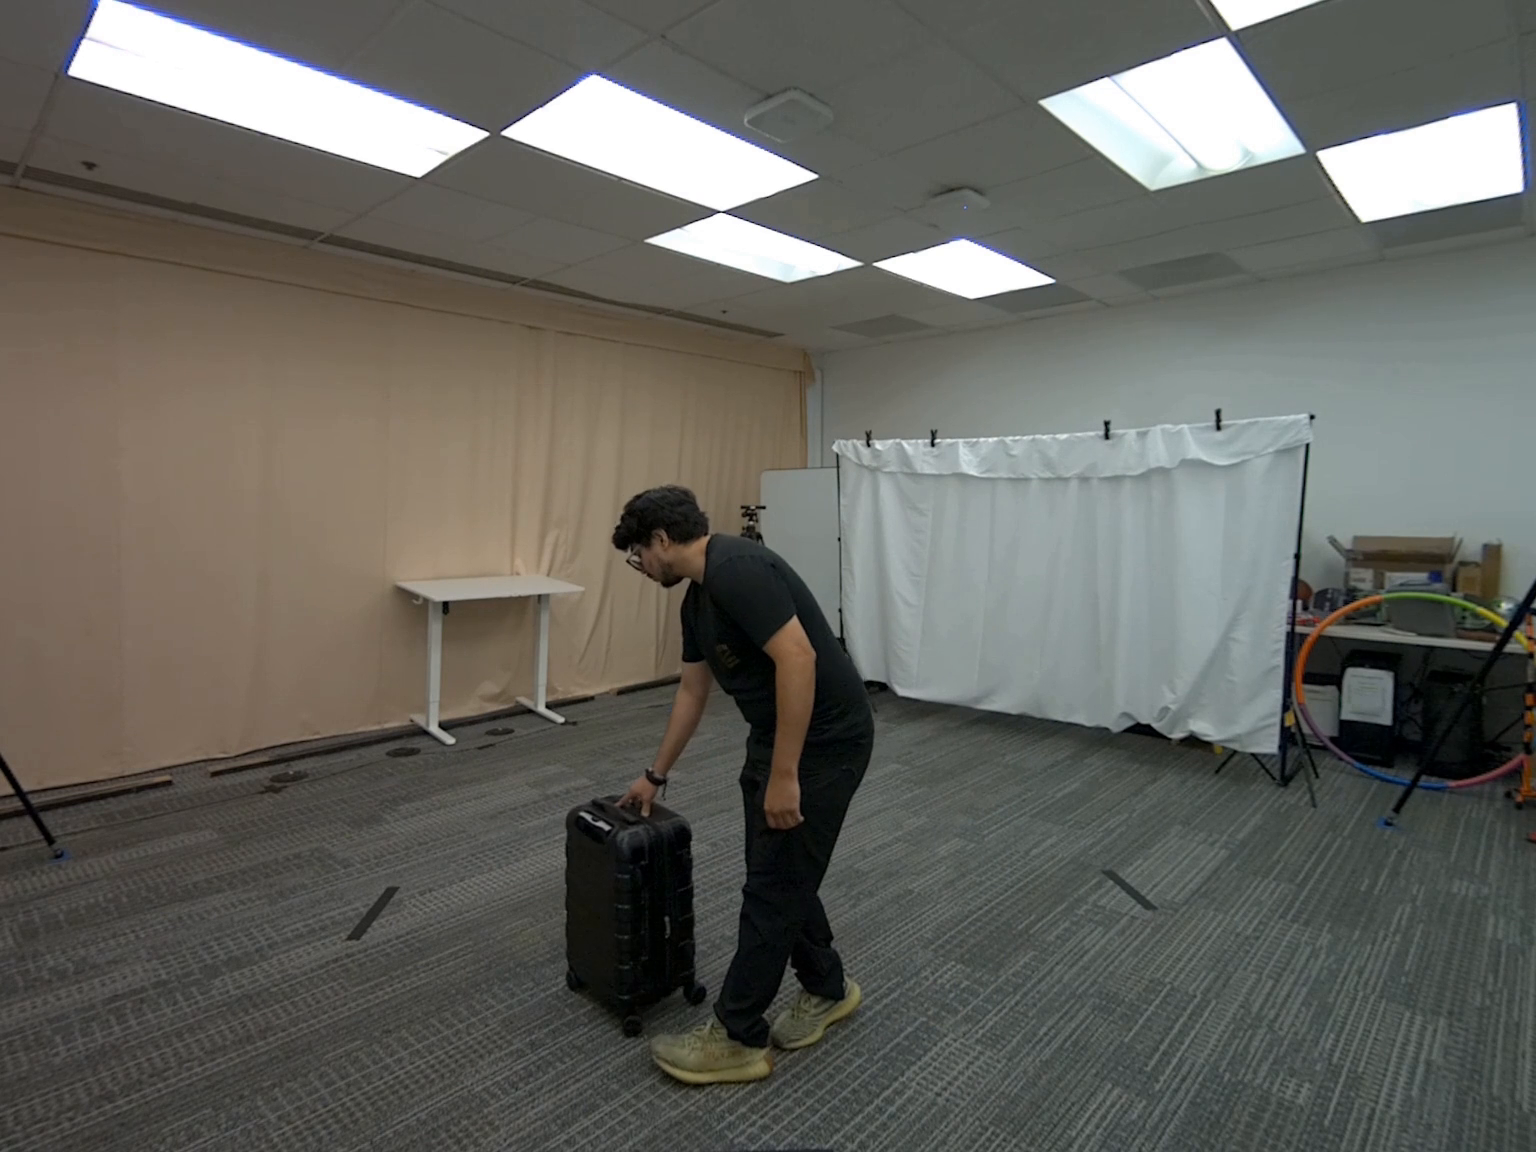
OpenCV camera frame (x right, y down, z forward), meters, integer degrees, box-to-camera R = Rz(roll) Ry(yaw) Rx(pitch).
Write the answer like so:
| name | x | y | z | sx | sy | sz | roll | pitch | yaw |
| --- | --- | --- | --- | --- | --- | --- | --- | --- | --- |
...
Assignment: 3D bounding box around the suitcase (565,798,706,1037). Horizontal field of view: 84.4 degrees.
| name | x | y | z | sx | sy | sz | roll | pitch | yaw |
| --- | --- | --- | --- | --- | --- | --- | --- | --- | --- |
| suitcase | -0.398 | 0.922 | 2.393 | 0.241 | 0.548 | 0.387 | -3 | 4 | -39 |
